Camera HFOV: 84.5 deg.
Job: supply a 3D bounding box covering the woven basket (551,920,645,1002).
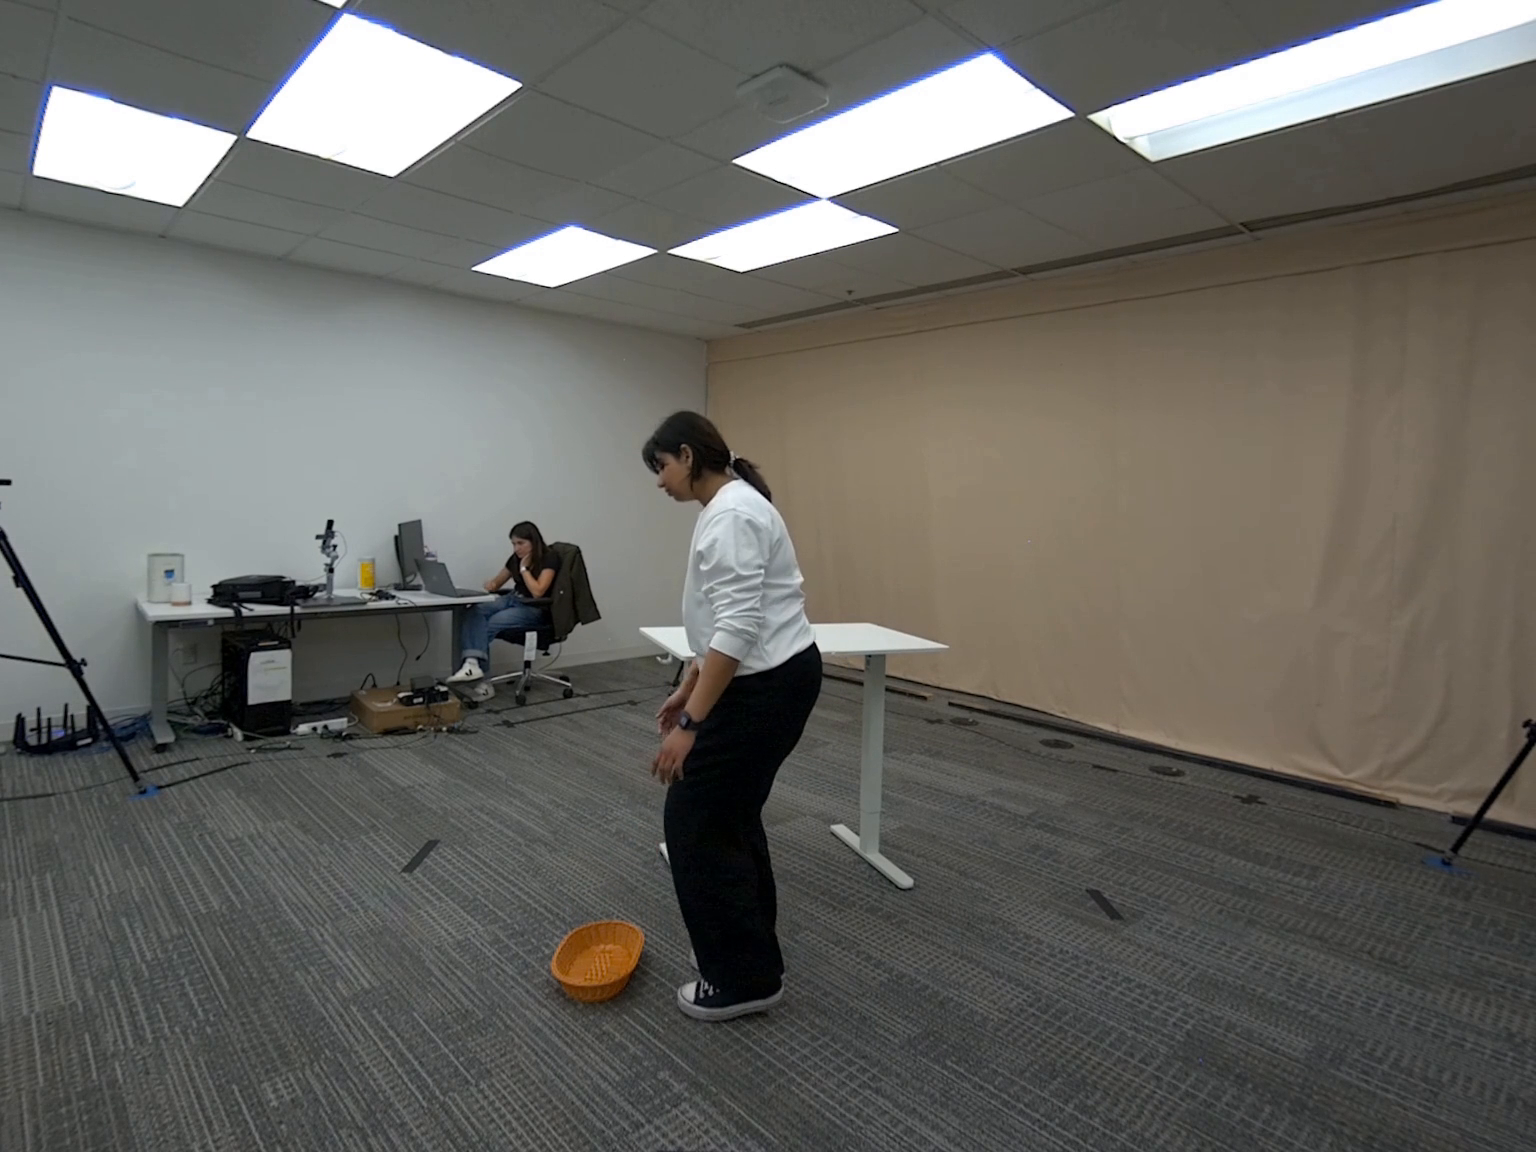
[{"bbox_3d":[-0.499,1.120,2.449,0.253,0.073,0.350,-1,6,4],"label":"woven basket"}]
